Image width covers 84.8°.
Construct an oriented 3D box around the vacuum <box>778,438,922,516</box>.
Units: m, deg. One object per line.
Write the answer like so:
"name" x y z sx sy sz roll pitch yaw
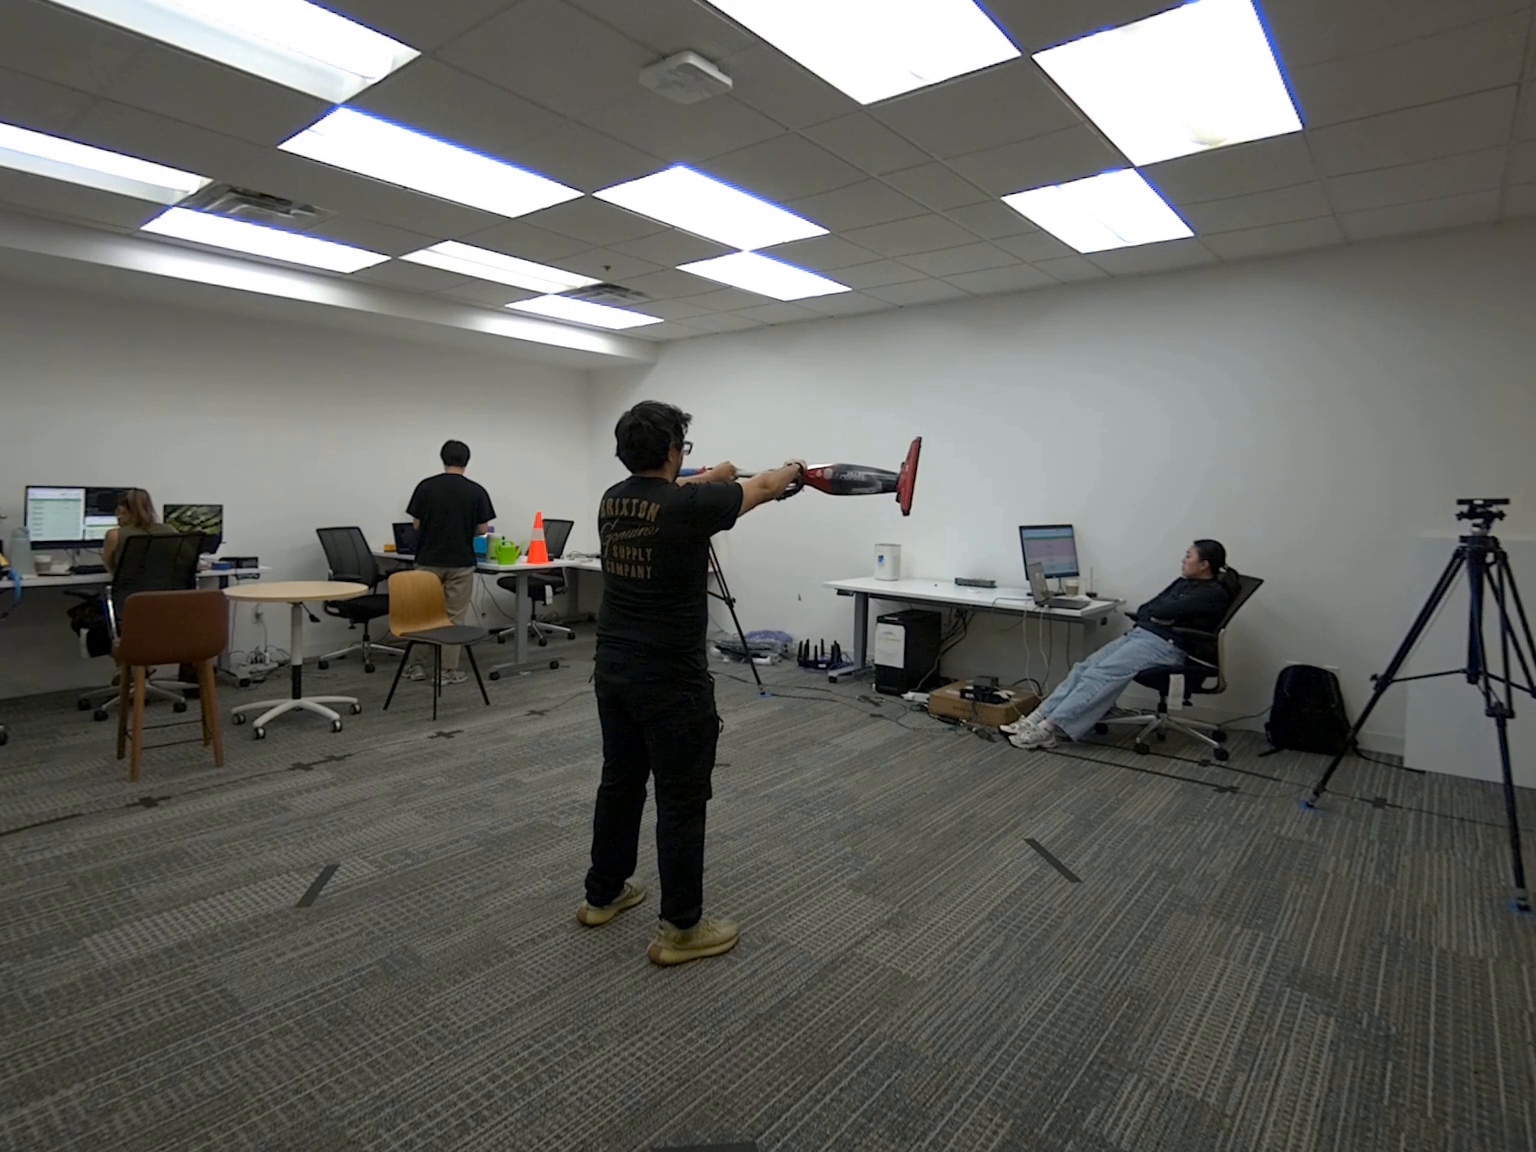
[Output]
"vacuum" 0.029 -0.353 3.039 1.084 0.255 0.138 5 -18 36
